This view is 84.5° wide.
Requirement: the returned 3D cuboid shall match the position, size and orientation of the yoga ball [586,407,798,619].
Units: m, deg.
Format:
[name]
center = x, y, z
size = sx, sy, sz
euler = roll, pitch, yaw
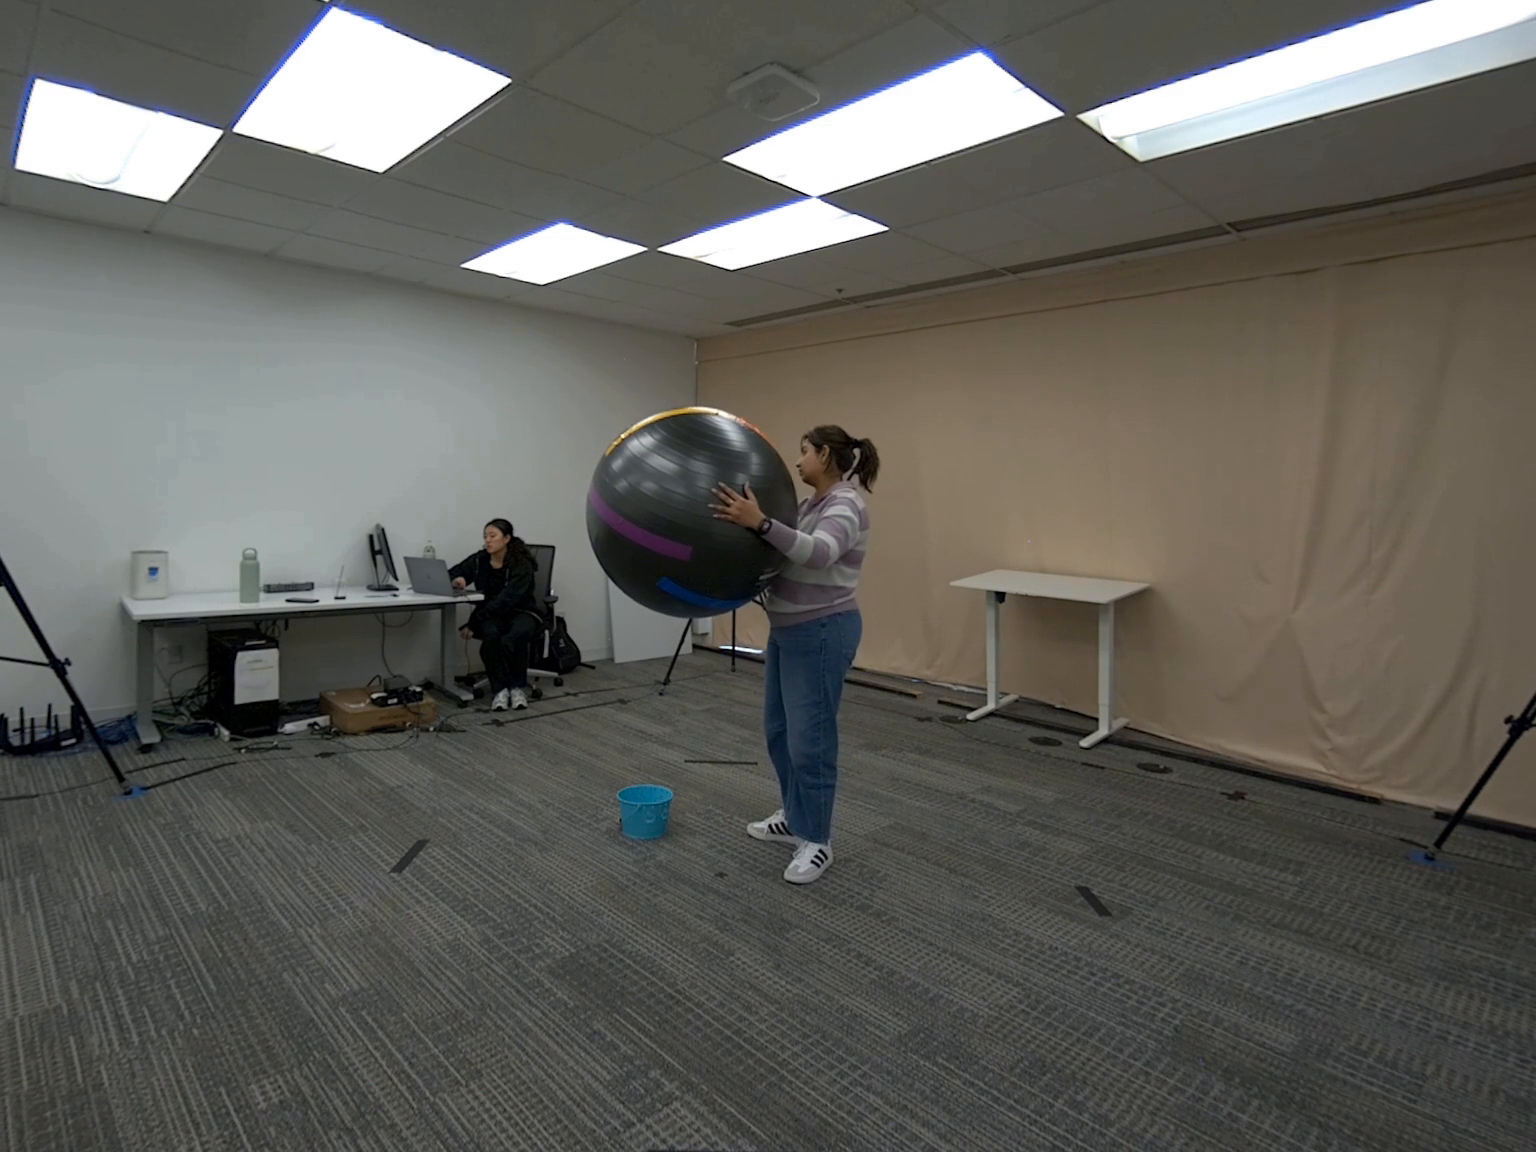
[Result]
[yoga ball]
center = -0.286, -0.227, 3.037
size = 0.757, 0.756, 0.761
euler = 1, 4, -1
